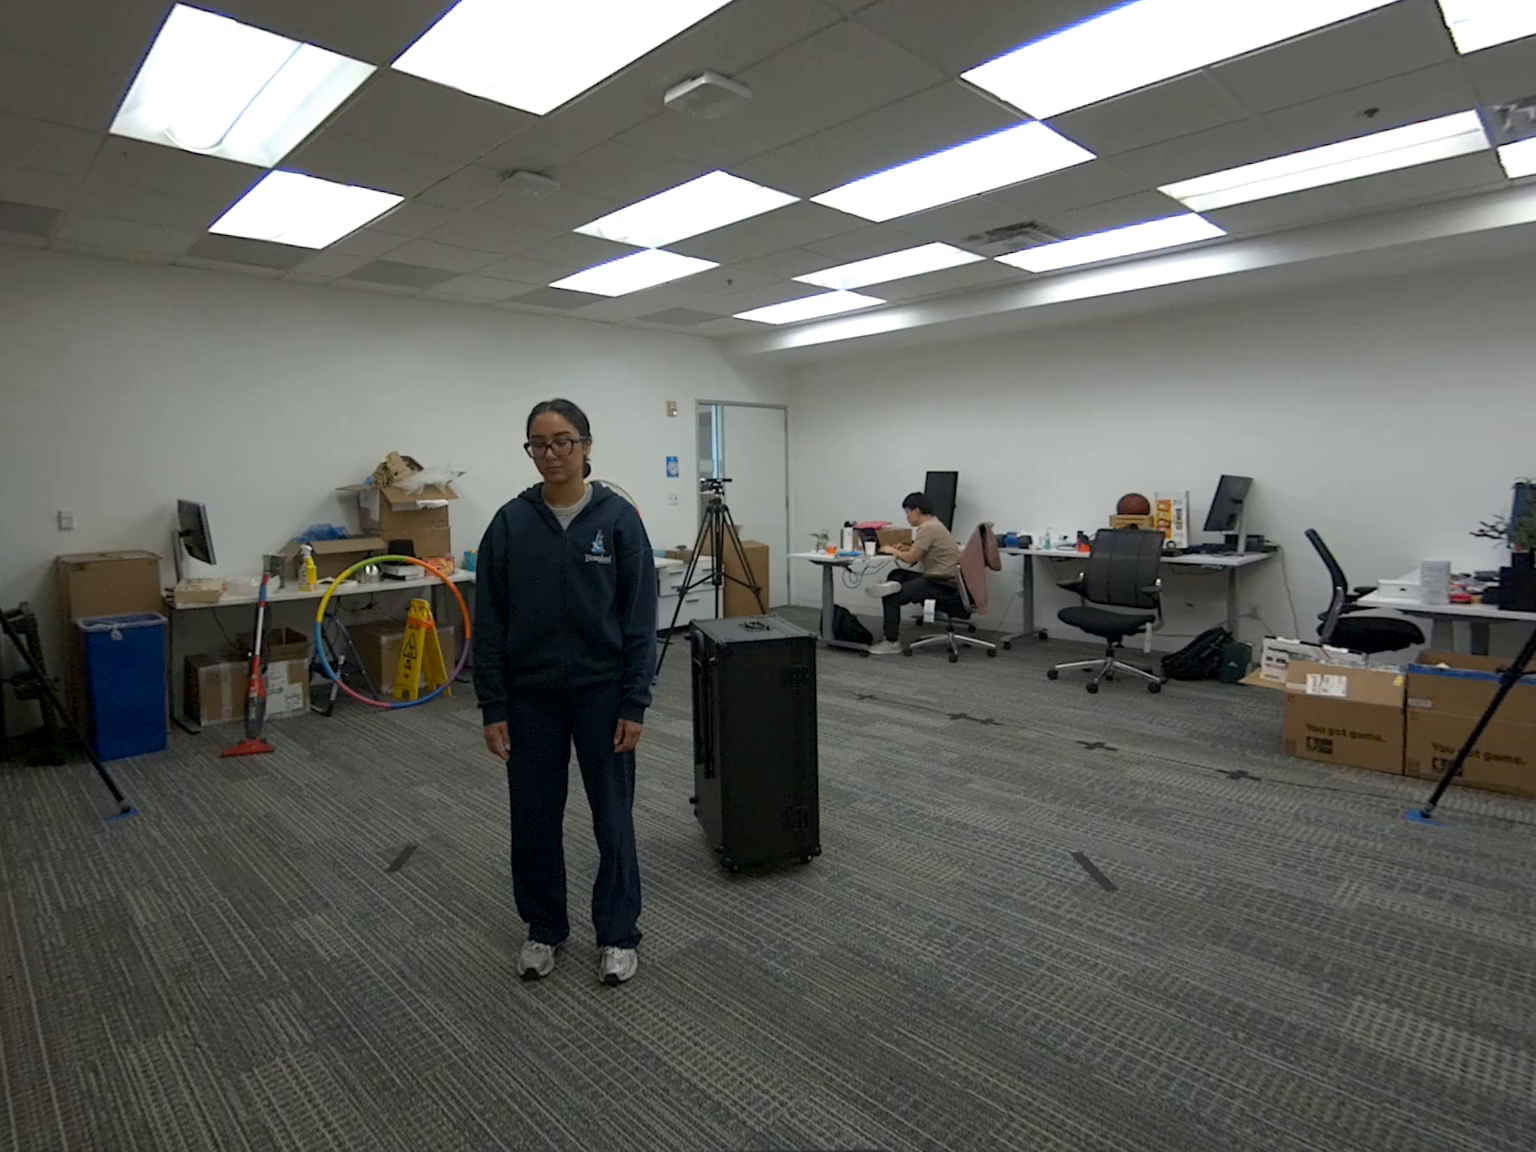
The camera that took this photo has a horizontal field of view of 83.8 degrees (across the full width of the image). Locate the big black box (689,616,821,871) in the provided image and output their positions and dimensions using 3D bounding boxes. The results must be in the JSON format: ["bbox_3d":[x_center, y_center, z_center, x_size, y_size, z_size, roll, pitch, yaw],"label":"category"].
[{"bbox_3d":[-0.058,0.609,3.167,0.391,0.858,0.530,-3,4,-14],"label":"big black box"}]
